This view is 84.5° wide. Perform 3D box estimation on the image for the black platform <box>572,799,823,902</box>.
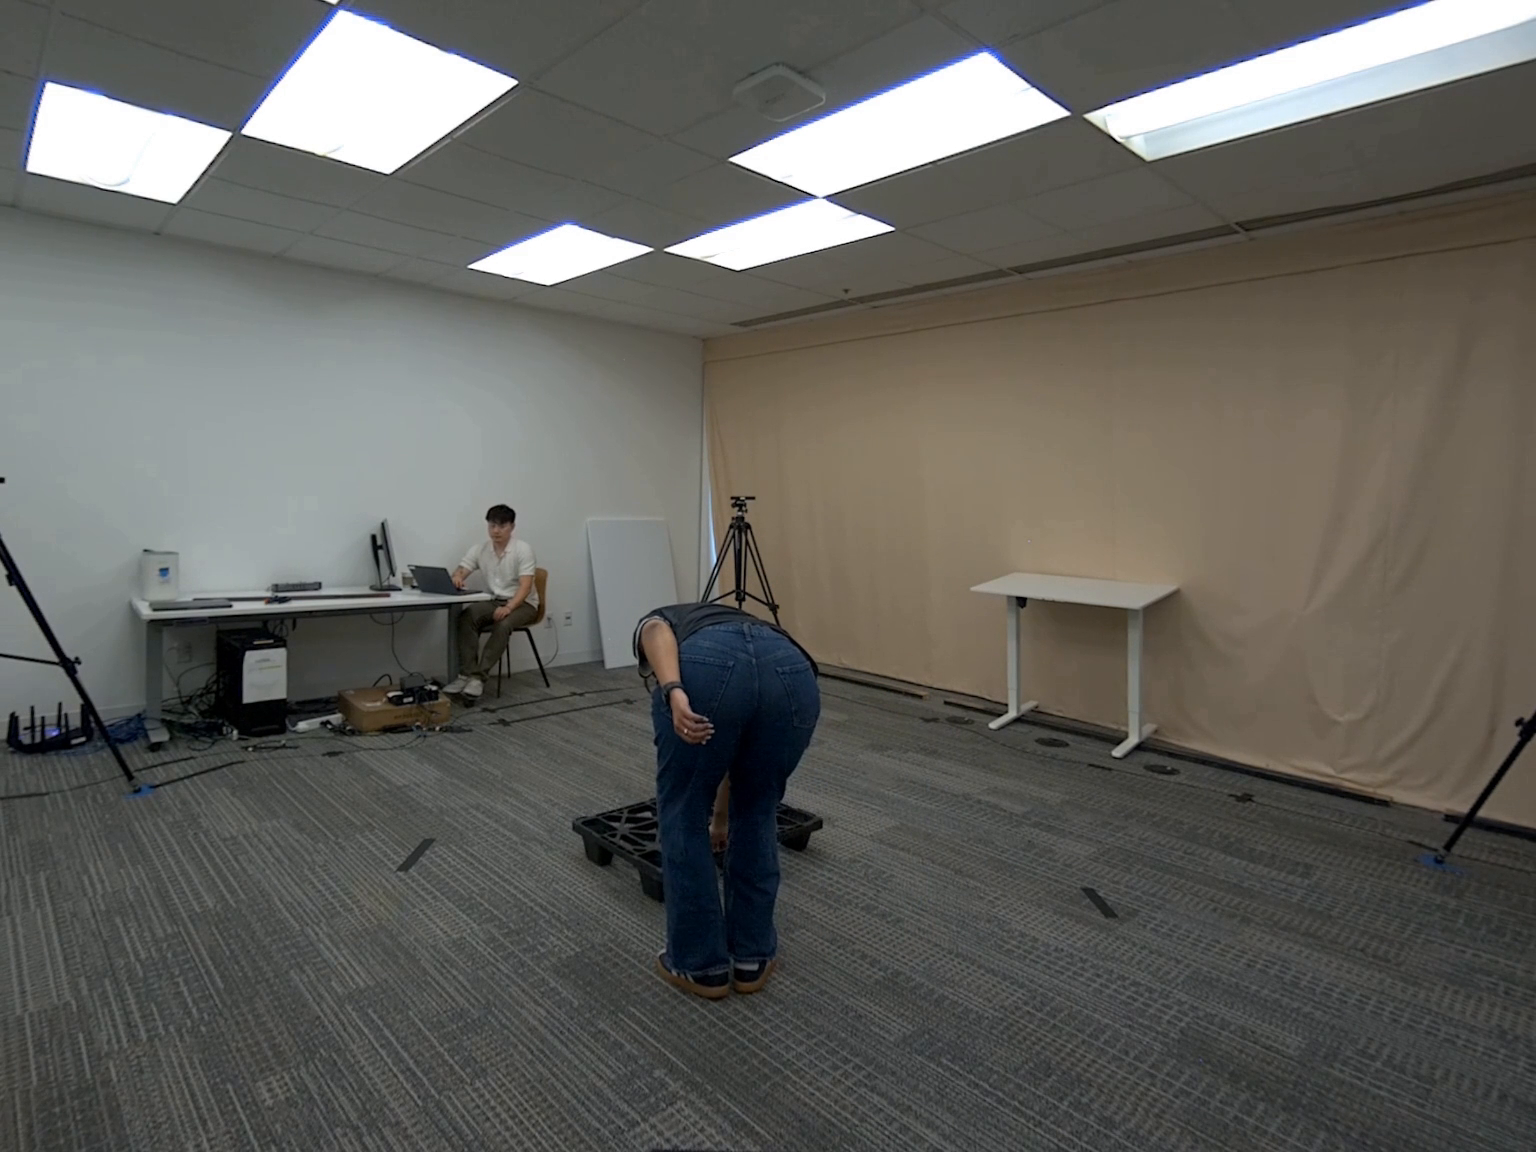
[{"bbox_3d":[-0.278,1.021,3.283,0.787,0.143,0.620,-3,6,-43],"label":"black platform"}]
